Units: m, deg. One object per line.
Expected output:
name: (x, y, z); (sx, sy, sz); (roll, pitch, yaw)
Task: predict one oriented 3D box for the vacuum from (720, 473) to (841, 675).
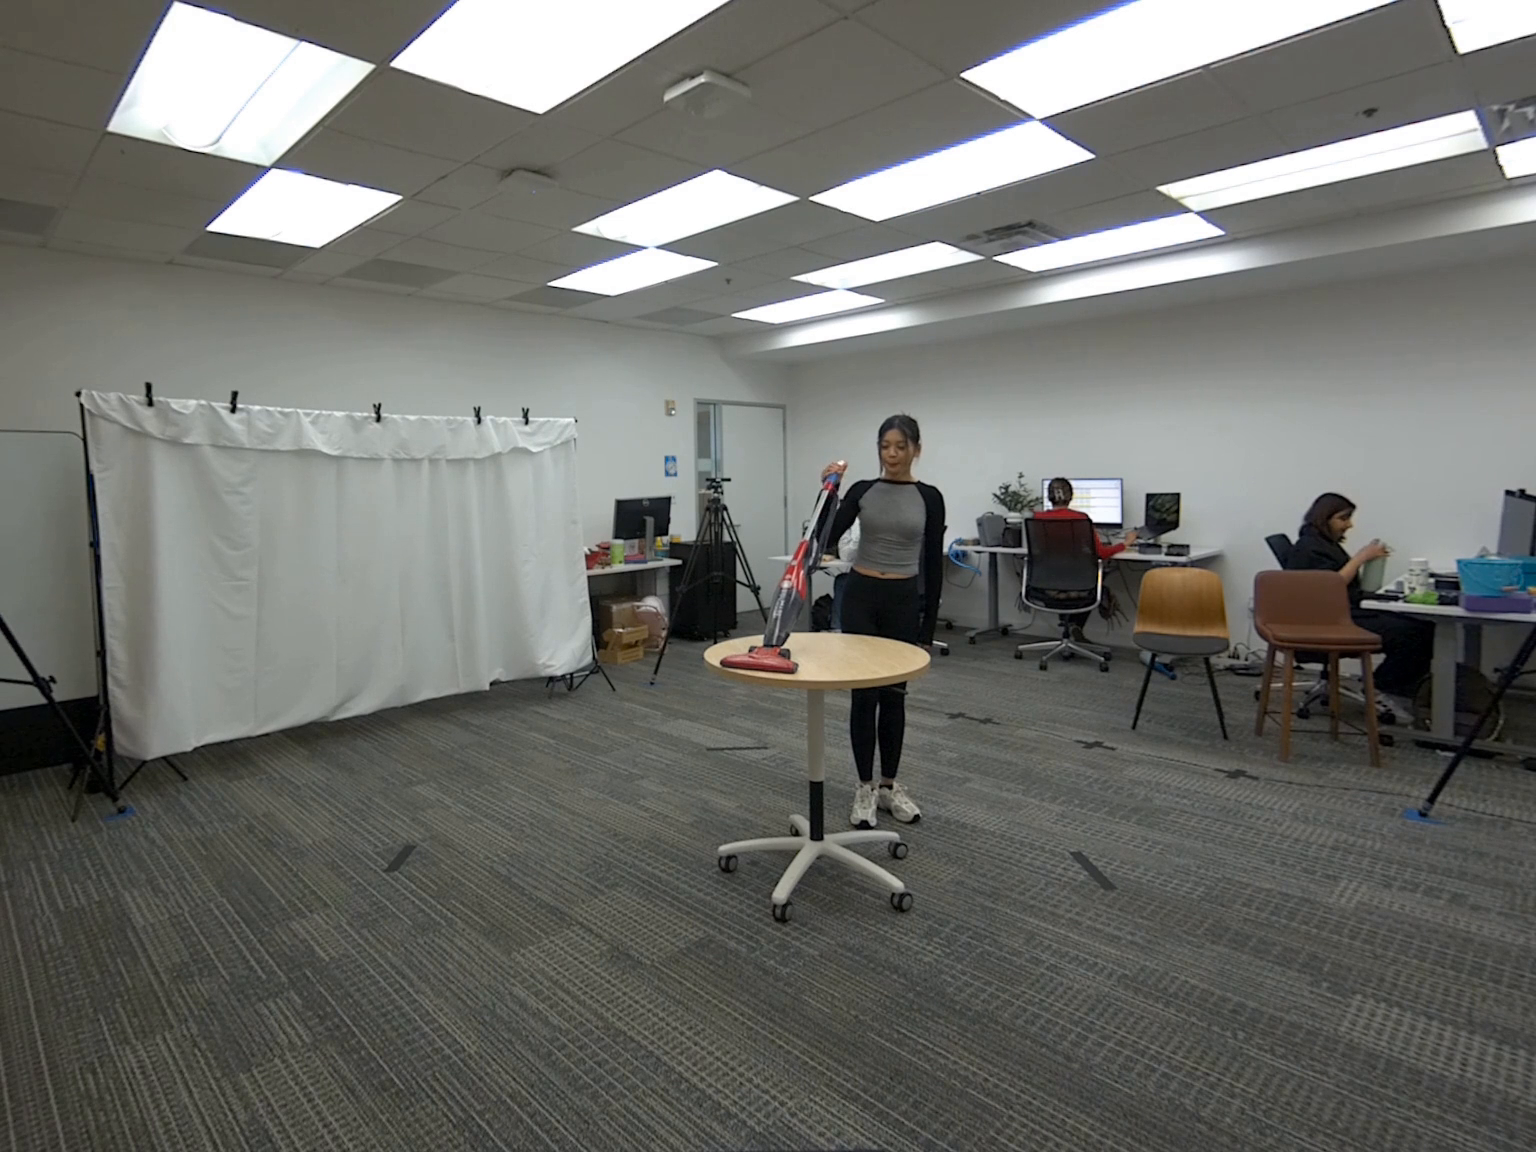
vacuum: (0.149, -0.079, 3.083); (0.258, 0.139, 1.061); (-8, 39, 30)
